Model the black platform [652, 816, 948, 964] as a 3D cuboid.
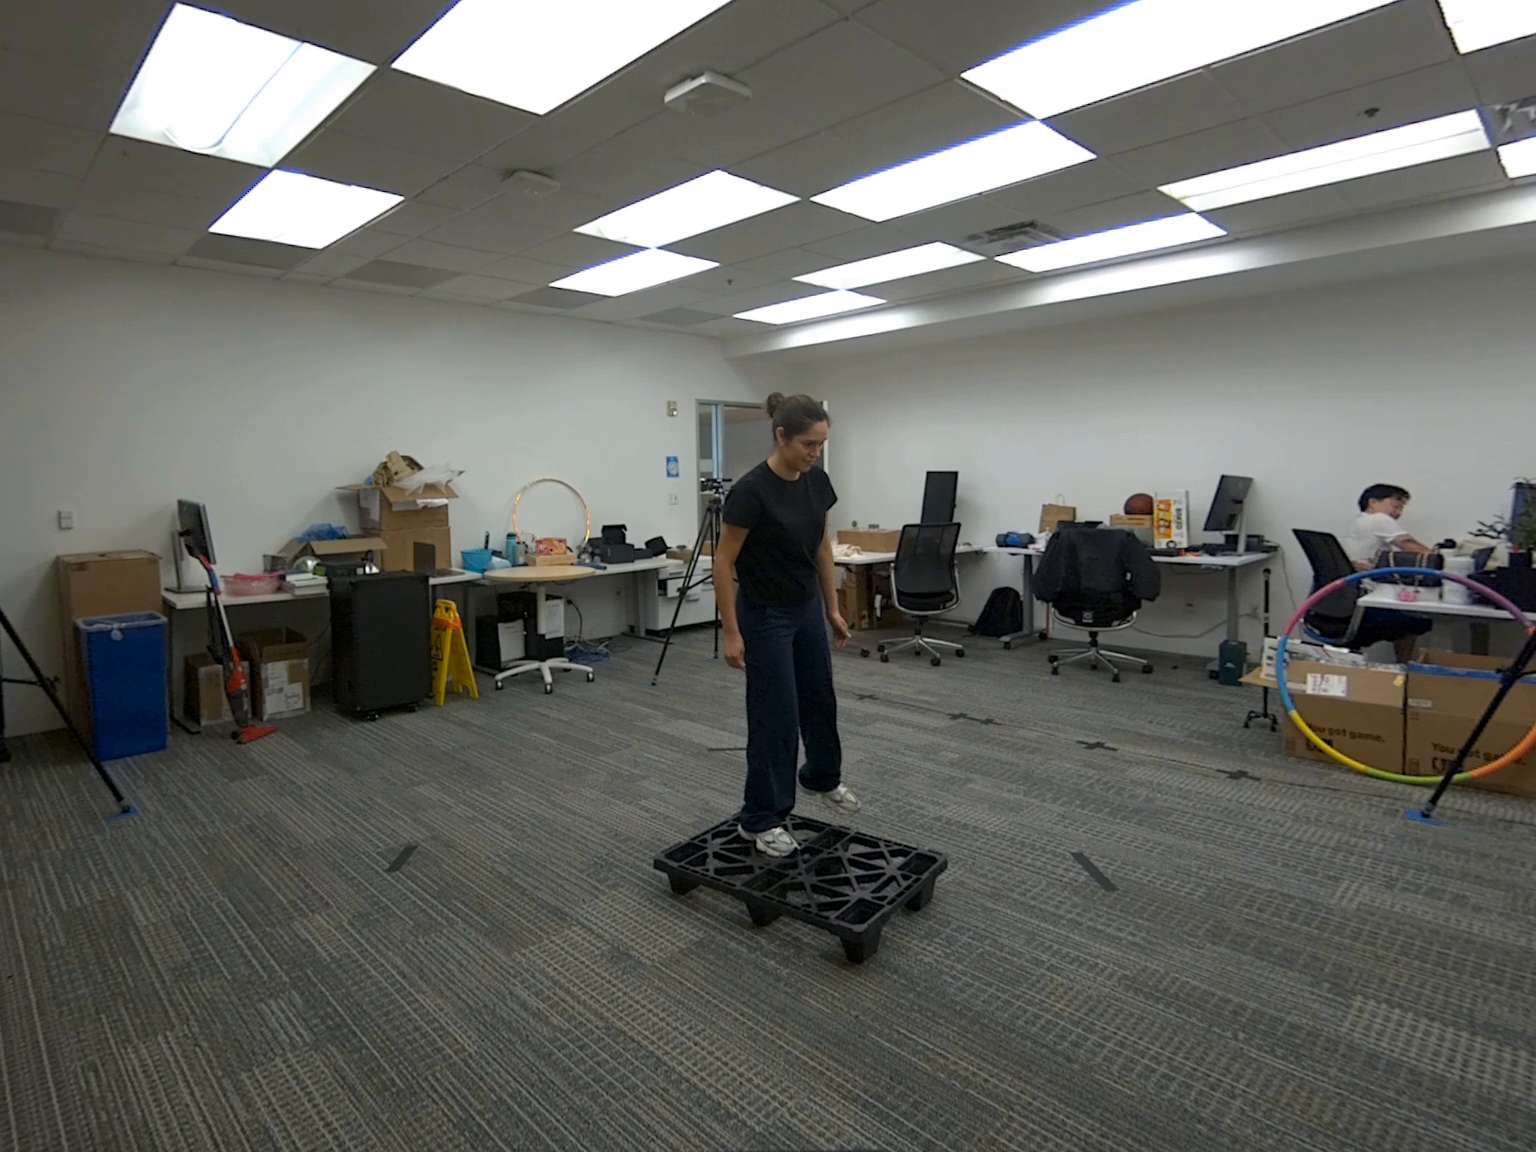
[{"bbox_3d":[0.105,1.001,2.873,0.829,0.143,0.590,4,8,37],"label":"black platform"}]
